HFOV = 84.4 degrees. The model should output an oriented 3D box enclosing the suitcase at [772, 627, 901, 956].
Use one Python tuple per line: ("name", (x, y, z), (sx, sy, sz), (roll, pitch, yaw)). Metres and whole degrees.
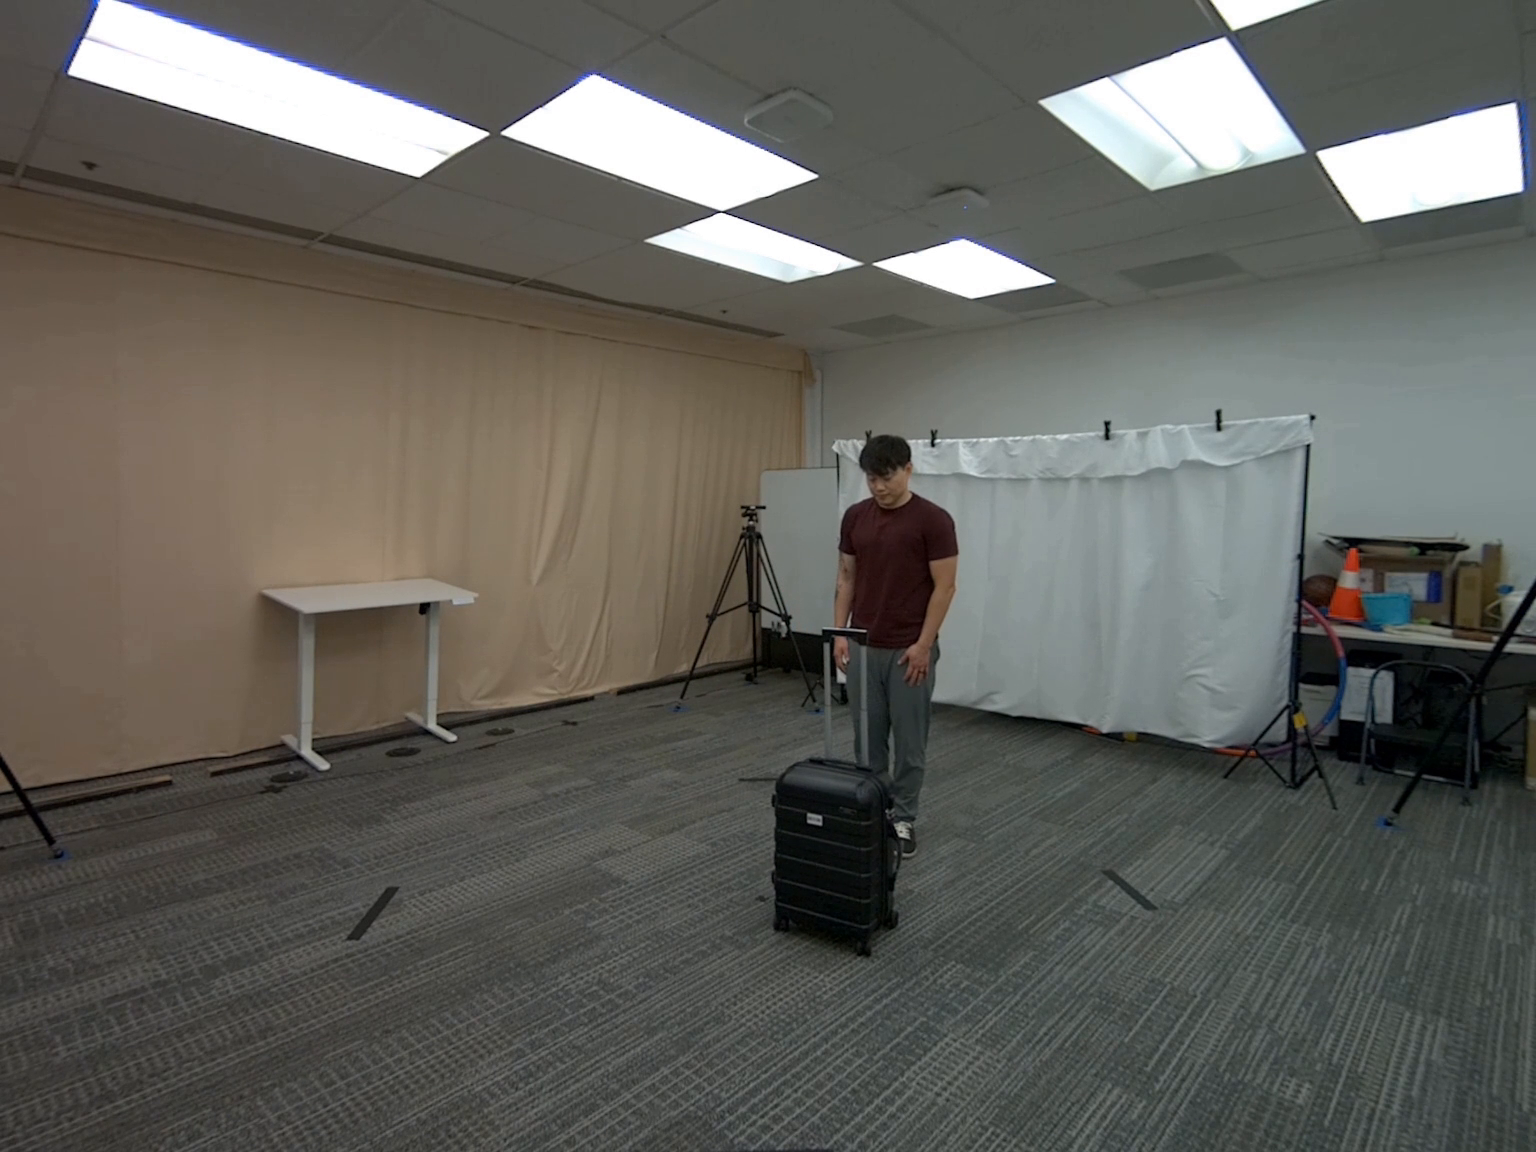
("suitcase", (0.219, 0.691, 2.720), (0.395, 0.974, 0.251), (3, 7, 30))
